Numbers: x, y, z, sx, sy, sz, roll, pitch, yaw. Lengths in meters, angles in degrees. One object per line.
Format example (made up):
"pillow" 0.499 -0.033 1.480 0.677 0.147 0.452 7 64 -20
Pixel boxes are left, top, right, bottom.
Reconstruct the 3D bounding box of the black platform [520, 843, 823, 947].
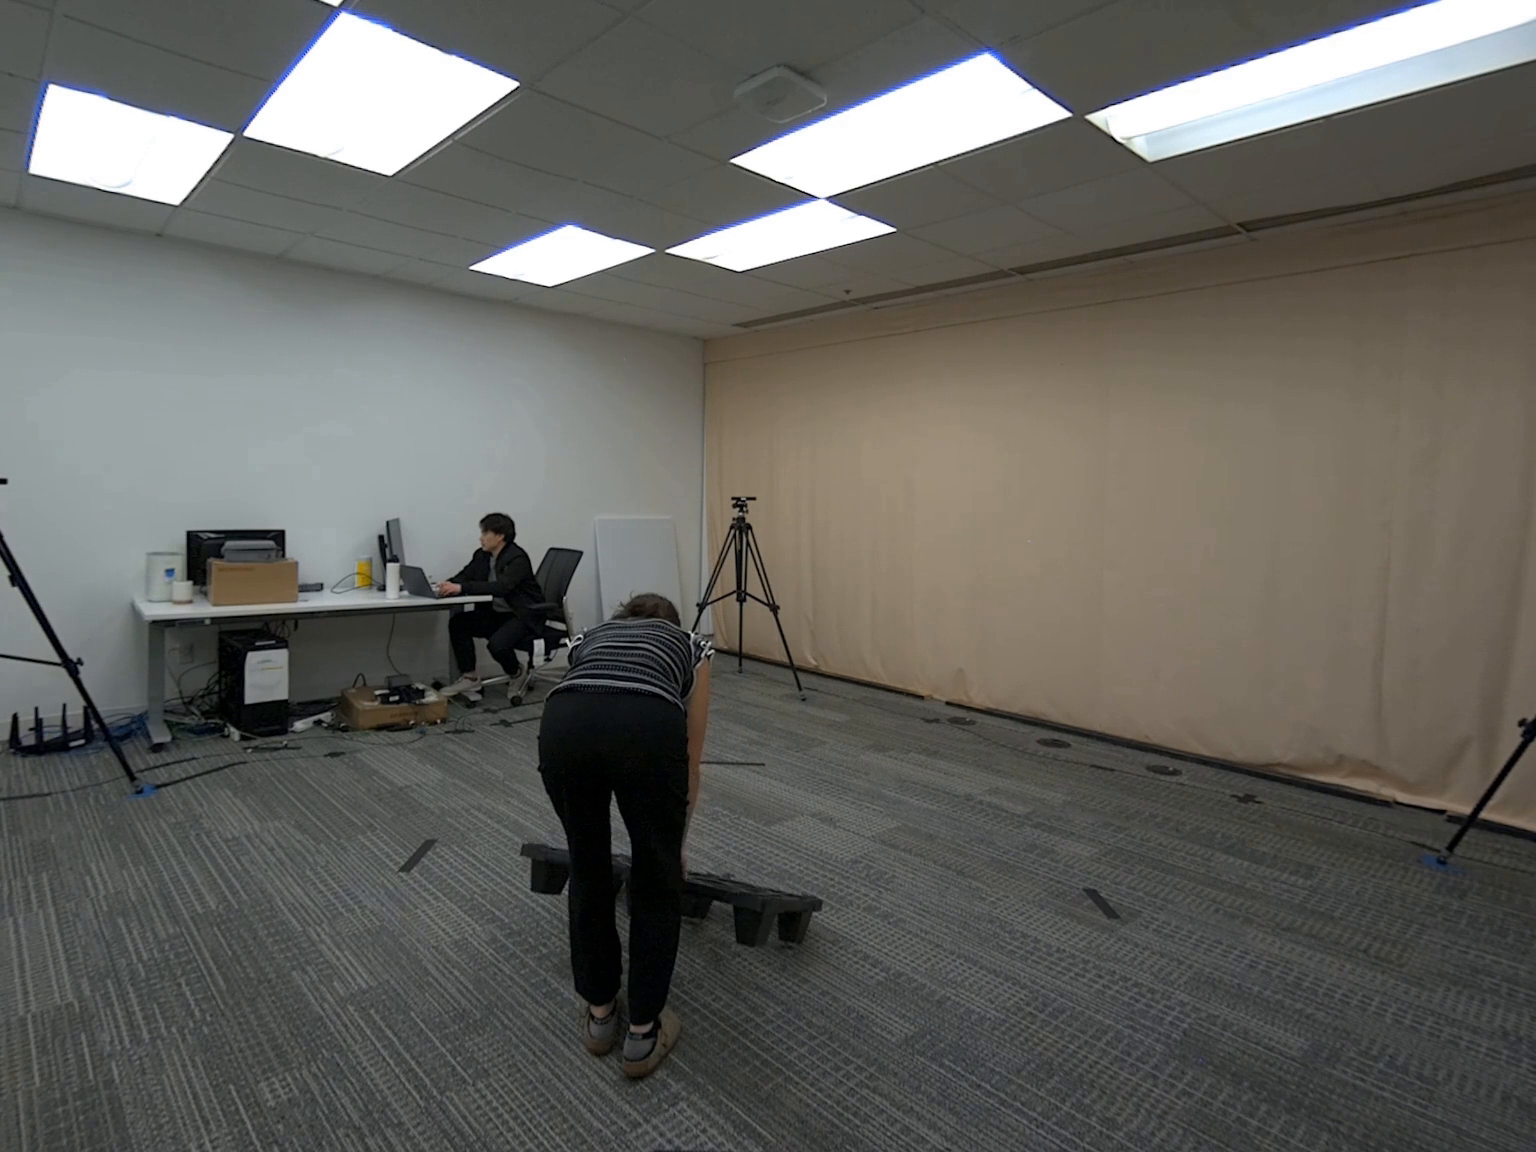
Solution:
"black platform" -0.303 0.997 2.621 0.820 0.145 0.588 4 -19 23
